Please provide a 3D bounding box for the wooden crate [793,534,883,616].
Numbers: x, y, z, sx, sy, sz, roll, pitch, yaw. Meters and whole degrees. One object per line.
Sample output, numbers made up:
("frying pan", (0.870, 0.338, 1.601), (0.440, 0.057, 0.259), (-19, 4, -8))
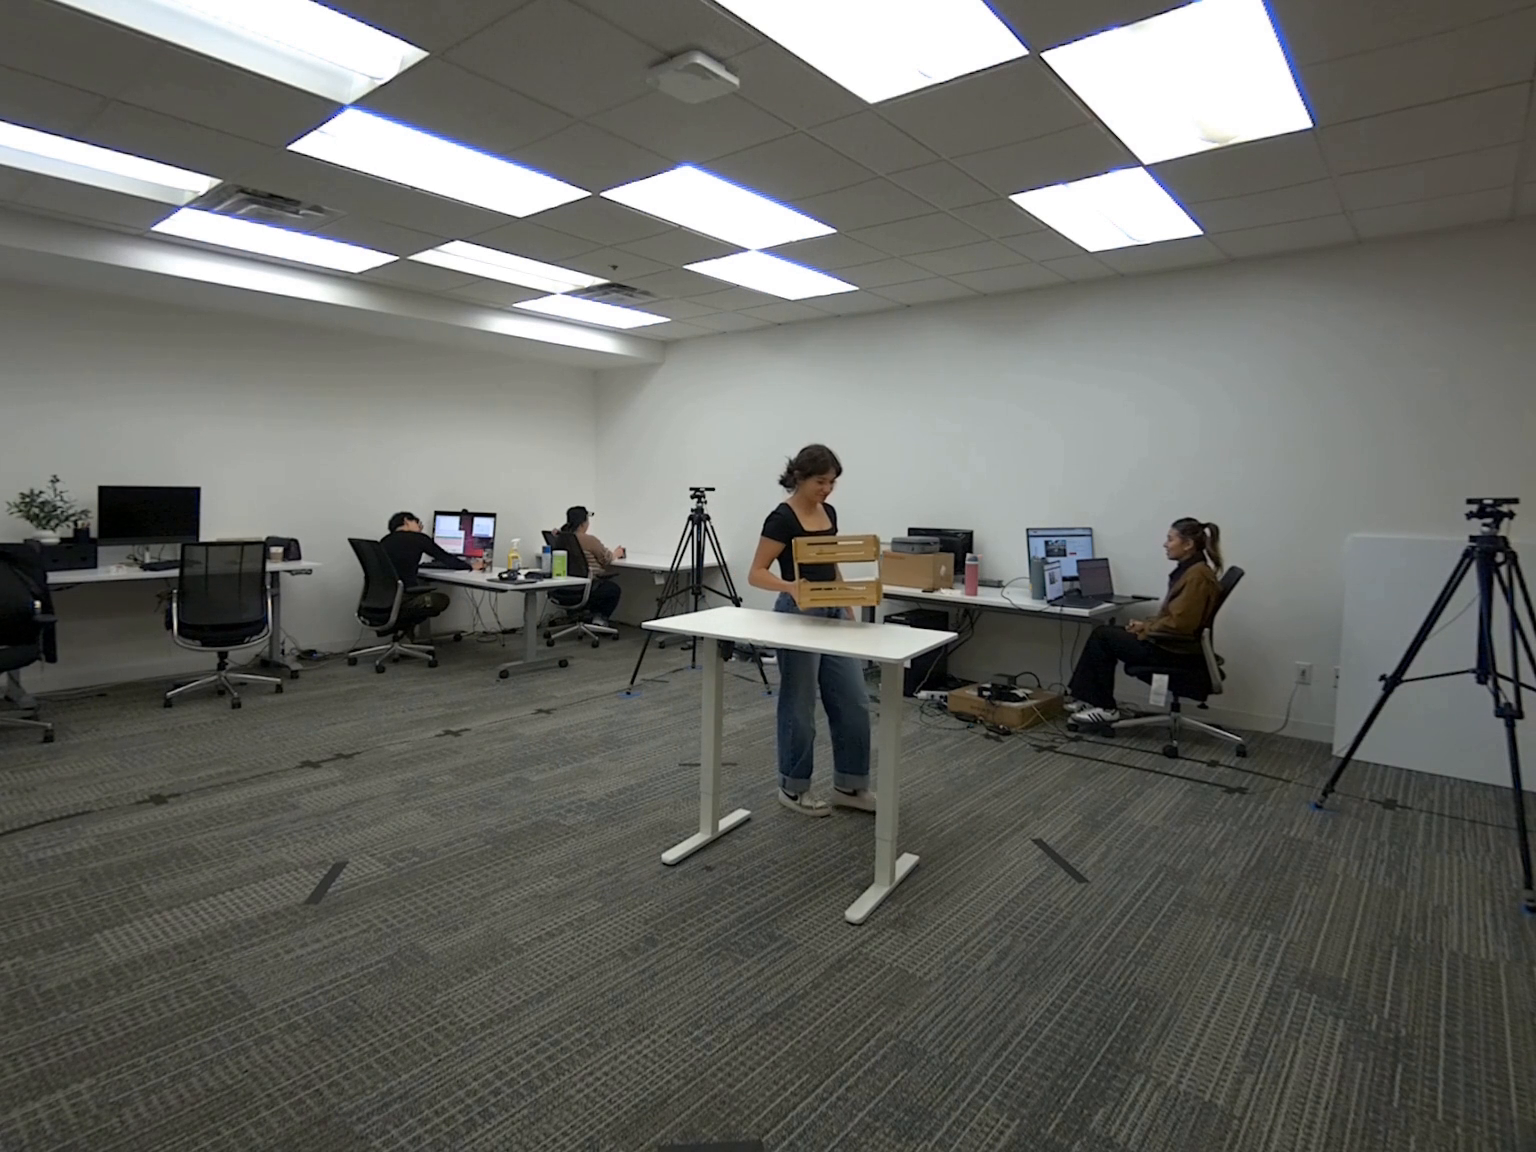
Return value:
("wooden crate", (0.263, -0.025, 3.270), (0.328, 0.274, 0.297), (-2, -2, 11))
